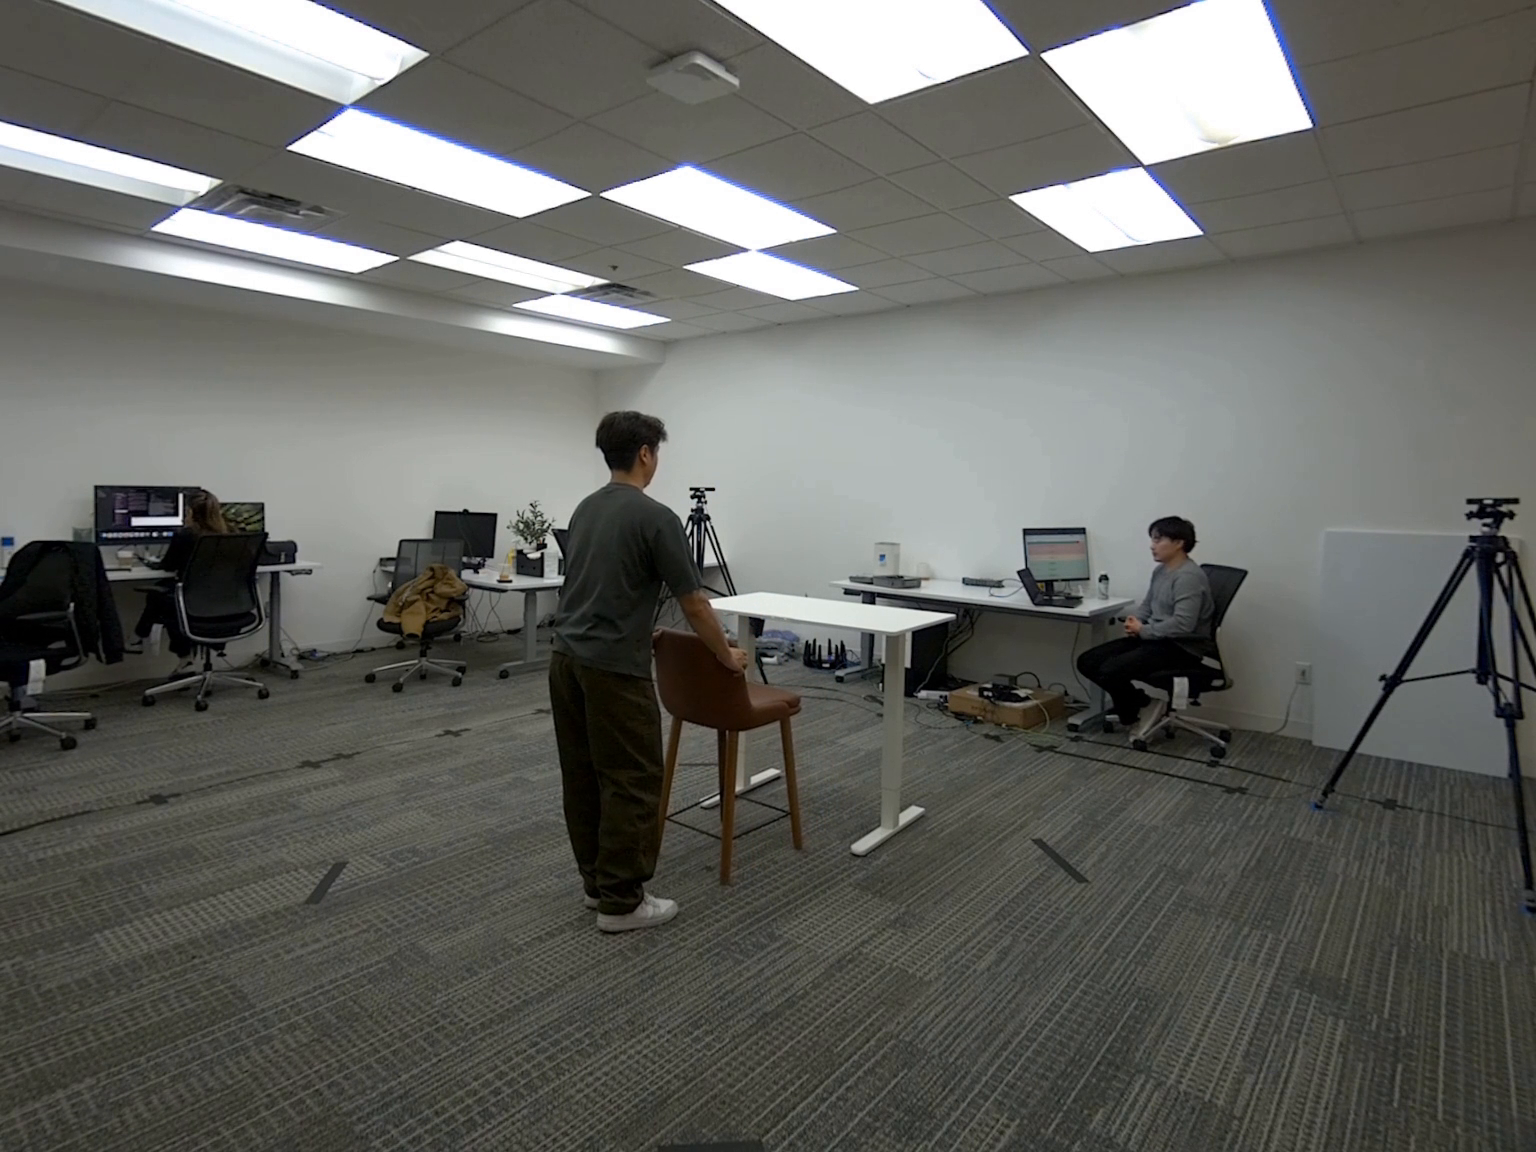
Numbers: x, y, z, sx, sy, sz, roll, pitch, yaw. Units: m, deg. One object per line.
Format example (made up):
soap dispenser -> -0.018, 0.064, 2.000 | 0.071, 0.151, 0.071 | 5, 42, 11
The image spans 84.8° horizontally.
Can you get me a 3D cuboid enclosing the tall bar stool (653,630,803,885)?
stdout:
tall bar stool -> -0.167, 0.616, 3.236 | 0.472, 0.886, 0.454 | 4, 6, 40
